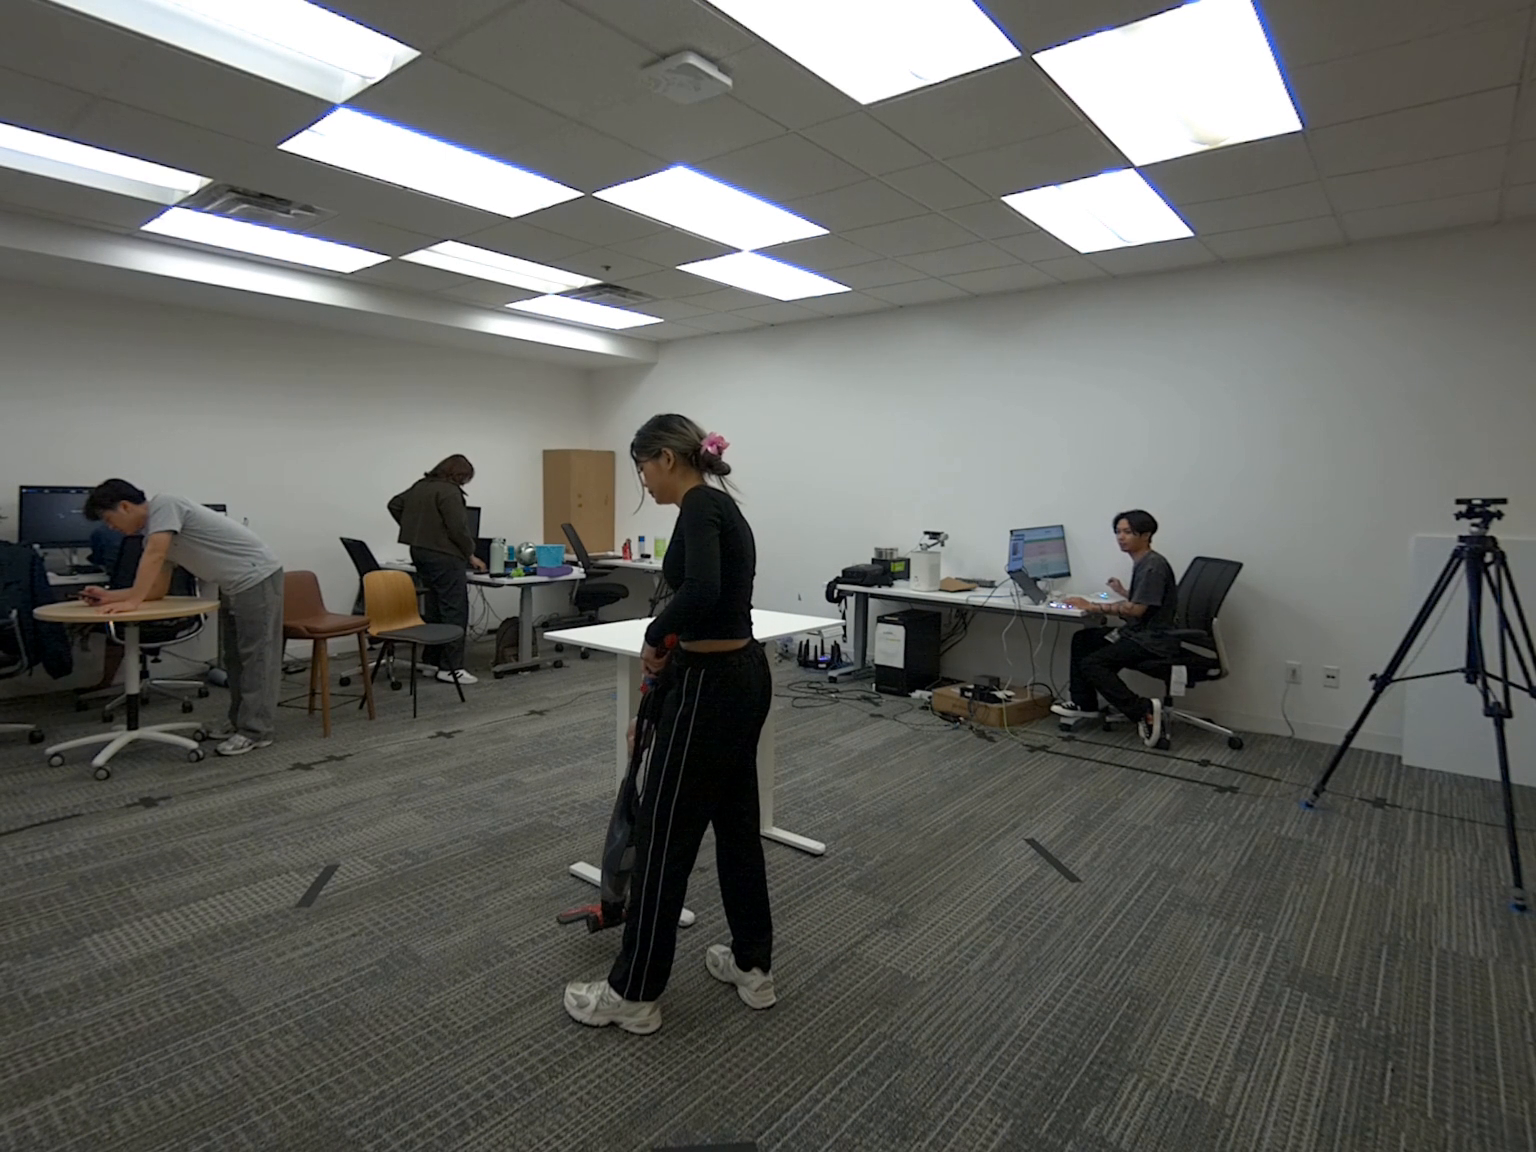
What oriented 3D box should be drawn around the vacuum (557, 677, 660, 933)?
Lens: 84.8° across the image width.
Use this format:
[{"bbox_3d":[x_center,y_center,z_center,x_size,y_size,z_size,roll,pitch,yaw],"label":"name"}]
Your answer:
[{"bbox_3d":[-0.400,0.596,2.354,0.246,1.032,0.150,-5,31,-33],"label":"vacuum"}]
